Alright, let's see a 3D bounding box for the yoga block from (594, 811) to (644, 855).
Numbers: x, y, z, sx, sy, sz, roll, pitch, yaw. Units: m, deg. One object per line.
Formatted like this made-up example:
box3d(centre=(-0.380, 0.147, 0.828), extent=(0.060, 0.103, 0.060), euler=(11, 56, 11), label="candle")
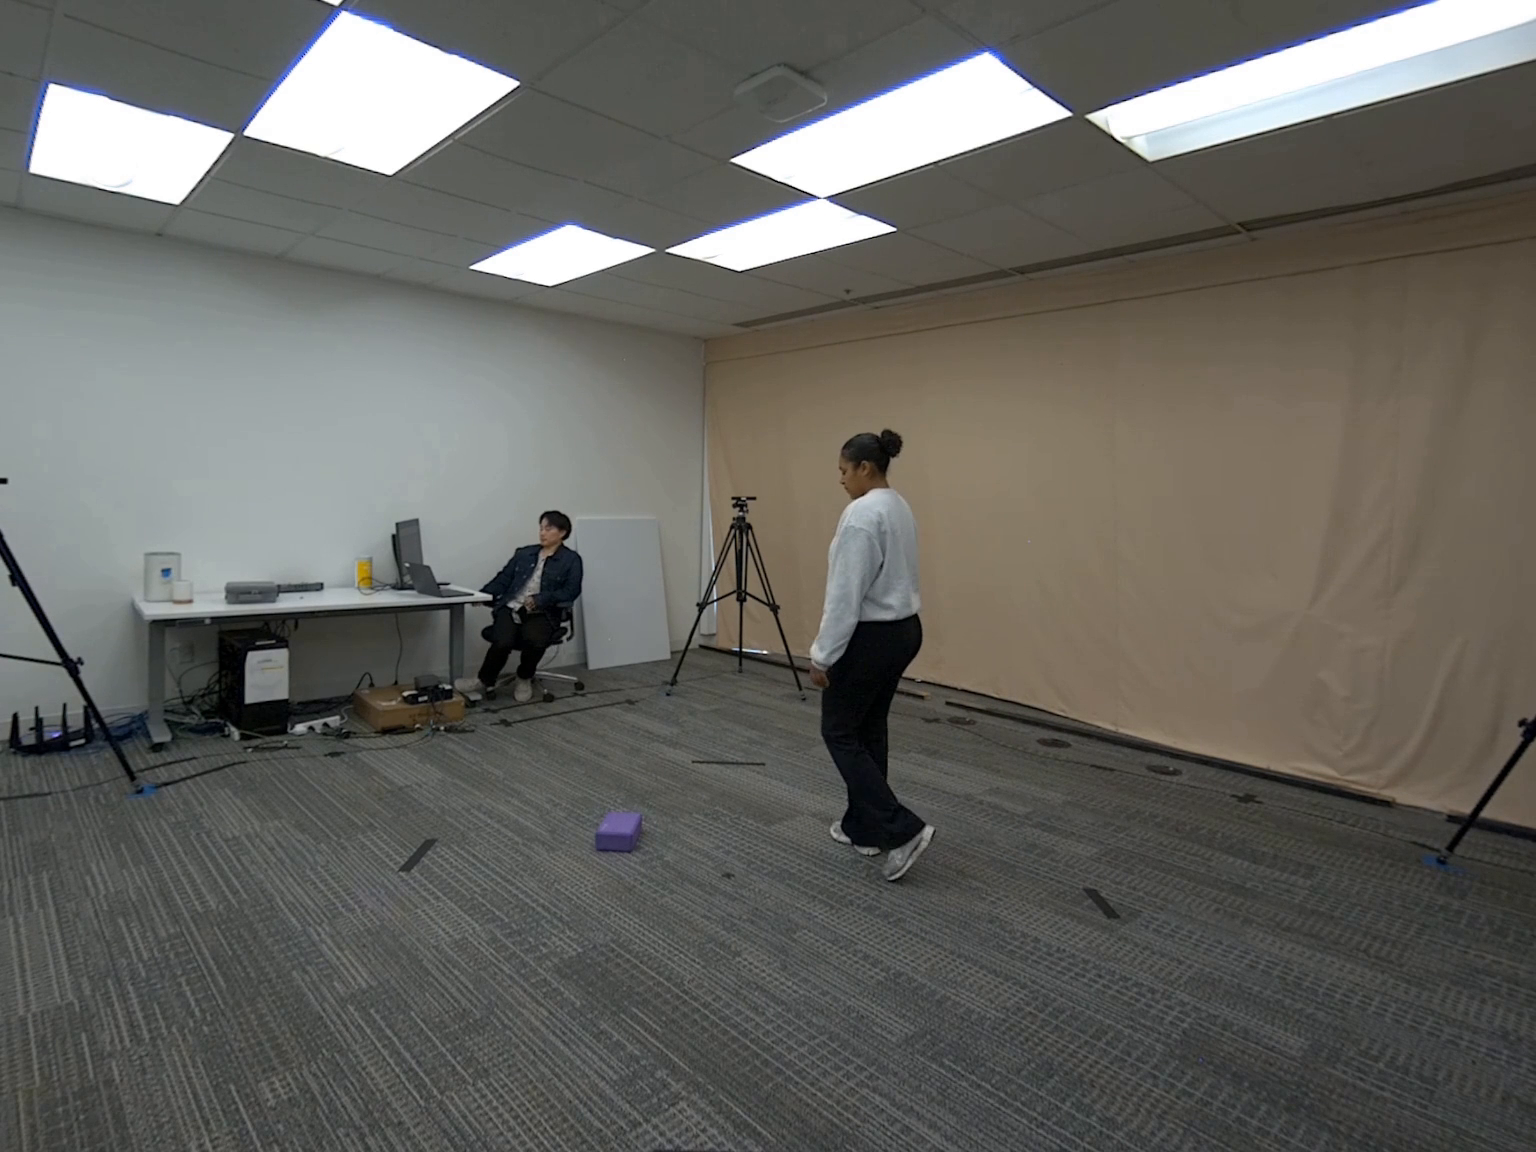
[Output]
box3d(centre=(-0.604, 1.027, 3.398), extent=(0.149, 0.076, 0.229), euler=(2, 5, 3), label="yoga block")
